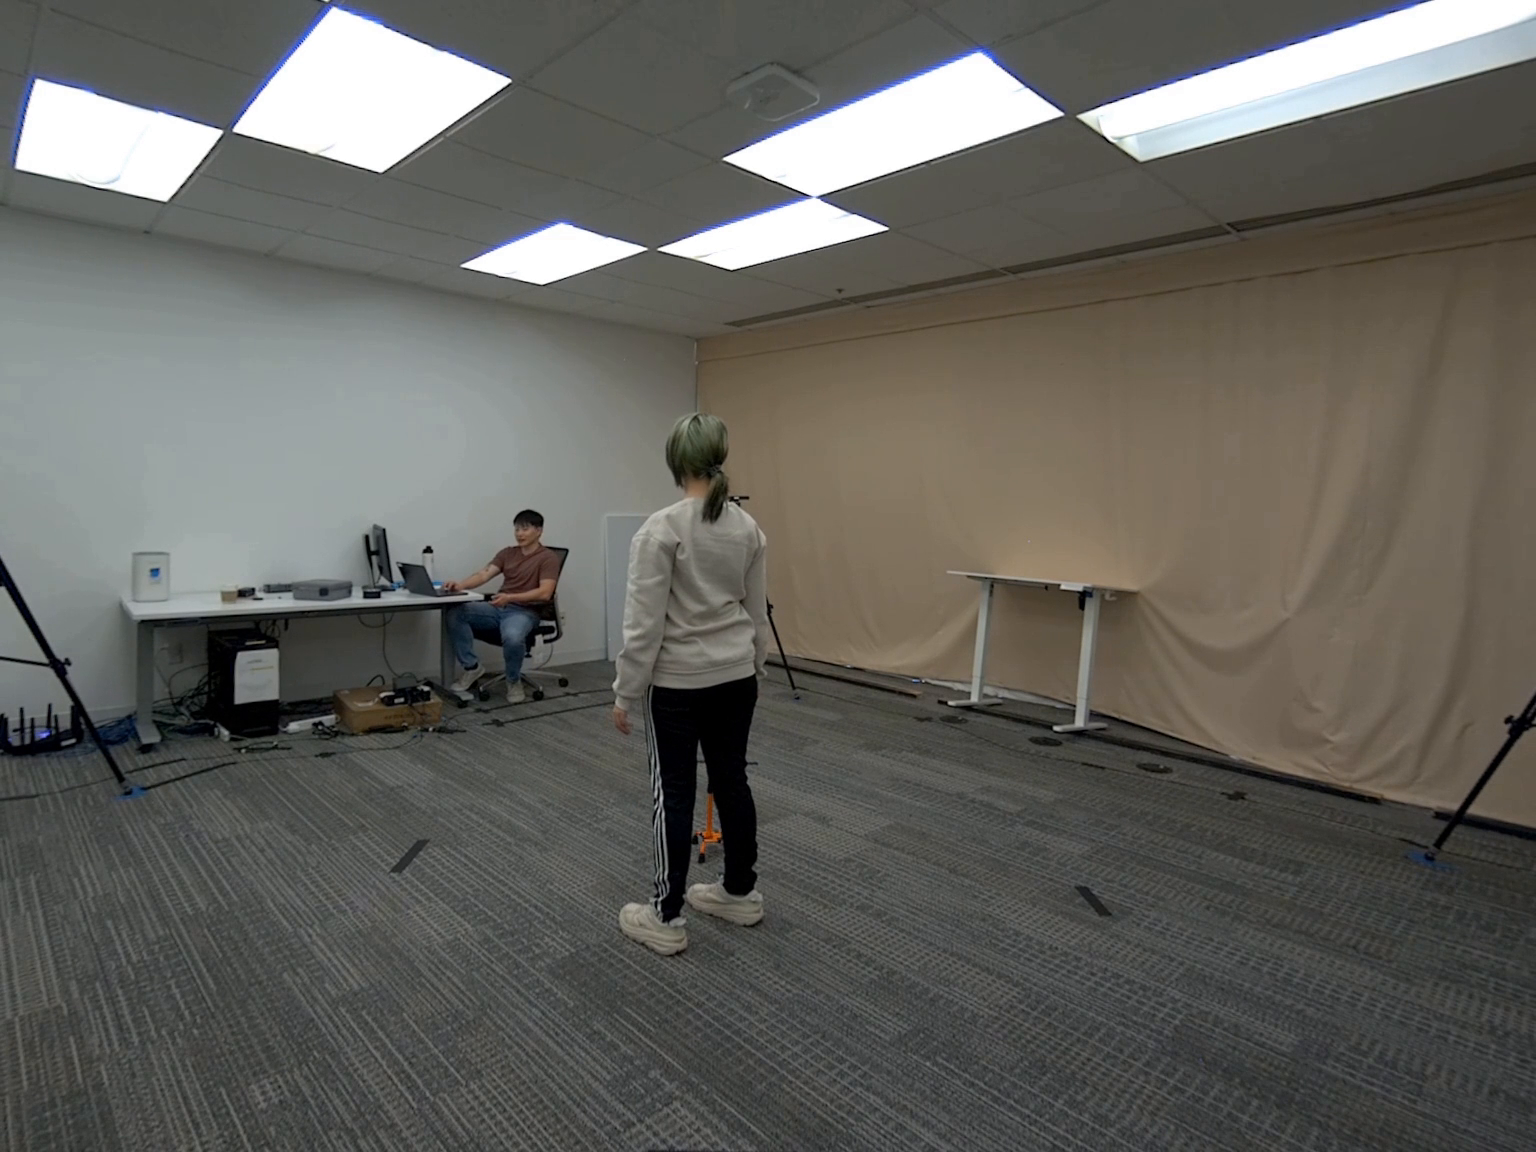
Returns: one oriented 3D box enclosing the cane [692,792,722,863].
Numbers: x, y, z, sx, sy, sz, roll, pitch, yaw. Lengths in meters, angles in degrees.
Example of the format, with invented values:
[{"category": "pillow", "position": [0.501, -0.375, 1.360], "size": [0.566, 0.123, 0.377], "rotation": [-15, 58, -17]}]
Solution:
[{"category": "cane", "position": [-0.204, 0.634, 3.286], "size": [0.150, 0.906, 0.208], "rotation": [1, 2, -11]}]
